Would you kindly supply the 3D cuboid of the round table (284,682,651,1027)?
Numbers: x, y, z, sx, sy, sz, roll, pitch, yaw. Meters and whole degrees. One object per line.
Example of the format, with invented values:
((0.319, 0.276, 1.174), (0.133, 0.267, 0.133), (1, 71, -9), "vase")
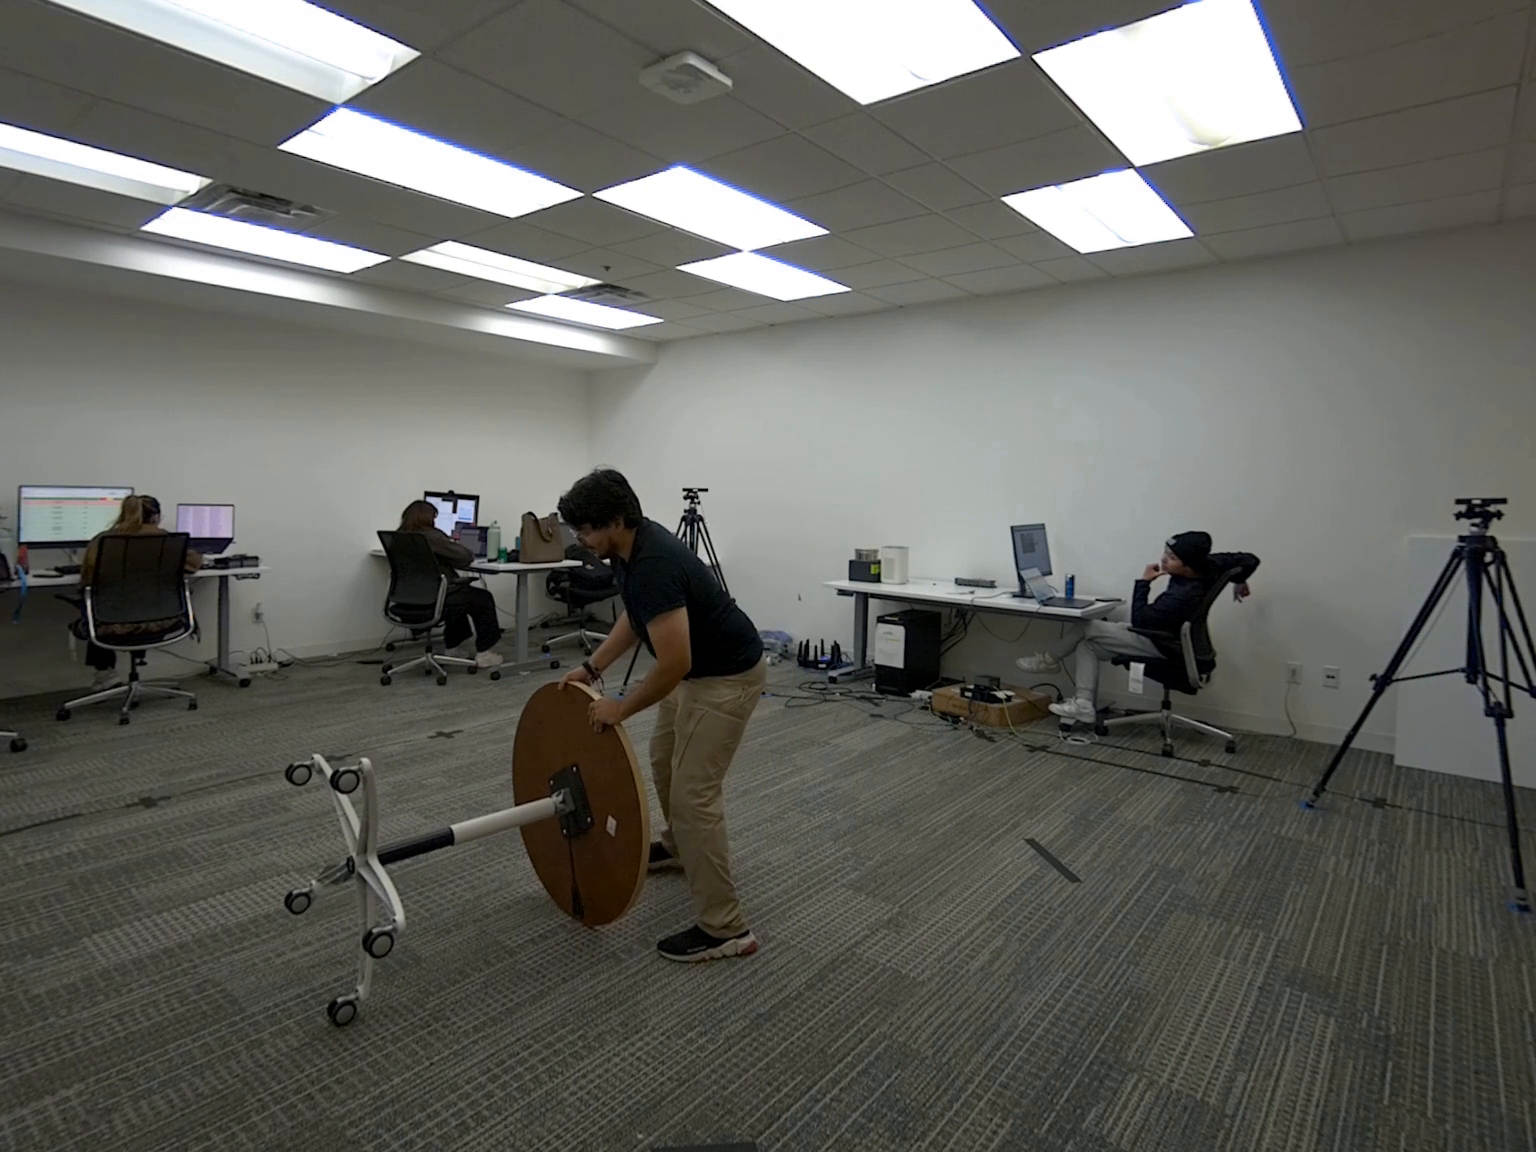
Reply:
((-0.907, 0.746, 2.474), (0.763, 0.782, 0.812), (-4, 6, -44), "round table")
